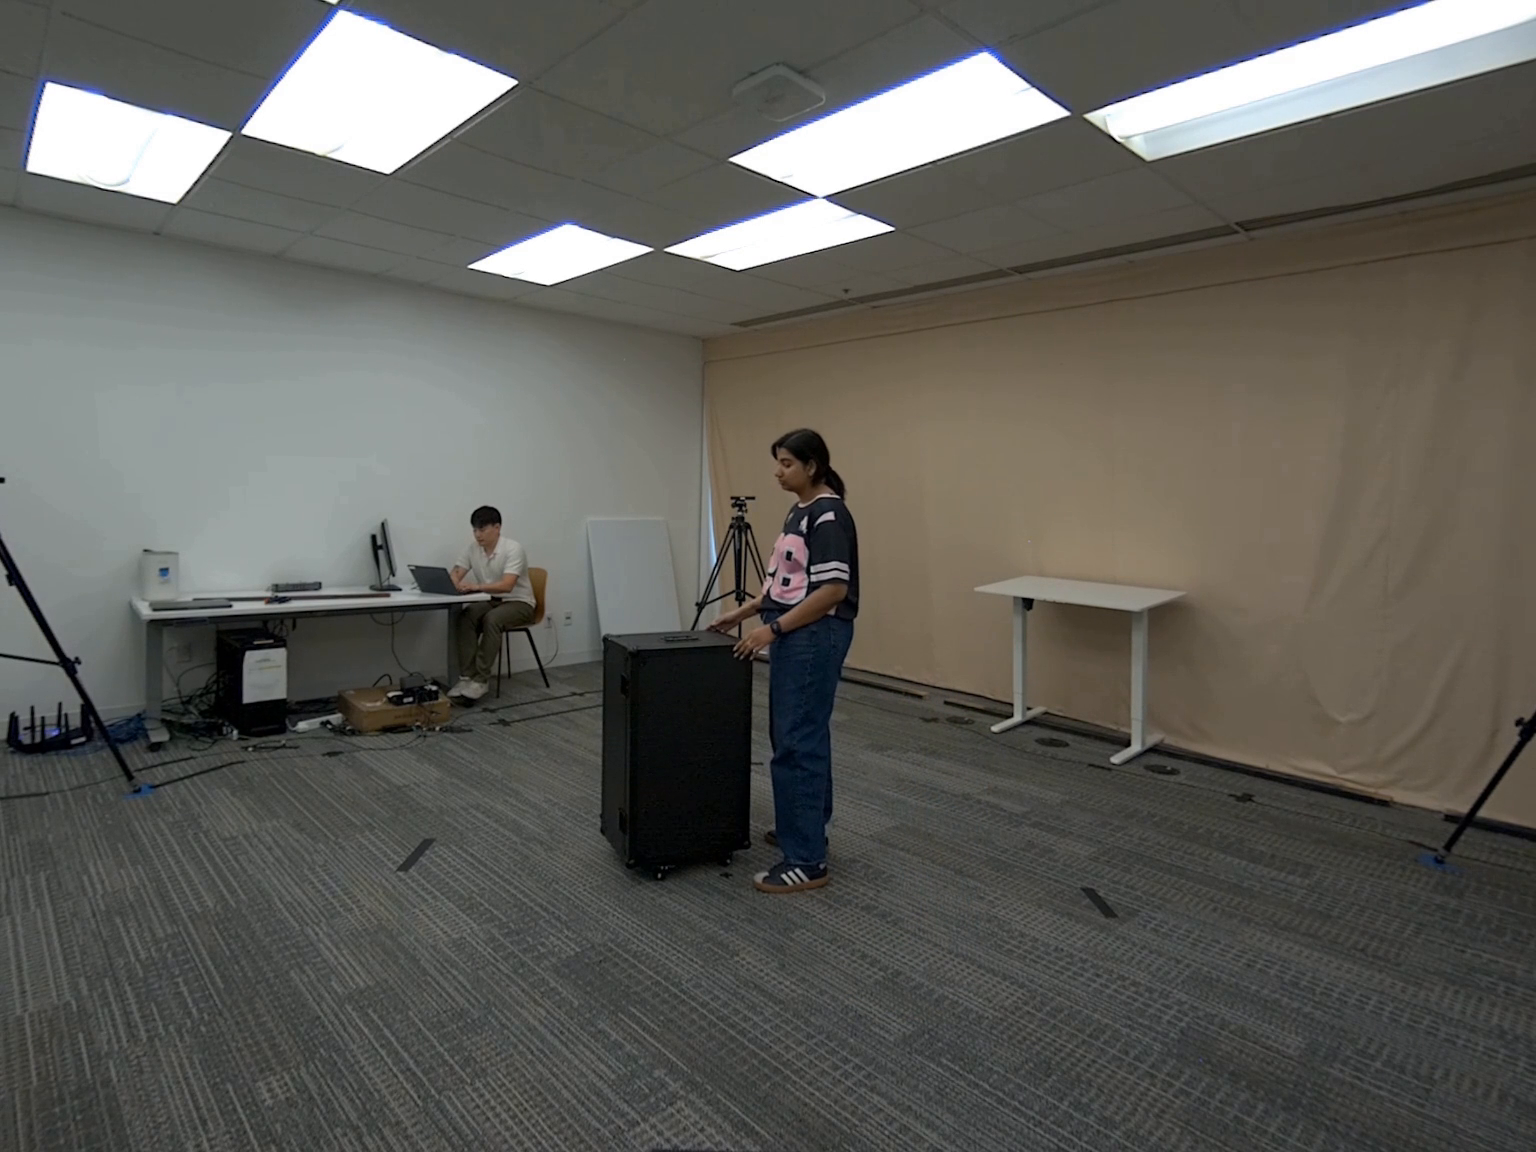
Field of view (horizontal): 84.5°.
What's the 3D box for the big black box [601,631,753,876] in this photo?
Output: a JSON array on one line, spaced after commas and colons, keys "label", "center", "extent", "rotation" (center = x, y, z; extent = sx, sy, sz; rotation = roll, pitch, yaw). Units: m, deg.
[{"label": "big black box", "center": [-0.372, 0.667, 3.213], "extent": [0.514, 0.866, 0.393], "rotation": [-1, 3, -26]}]
